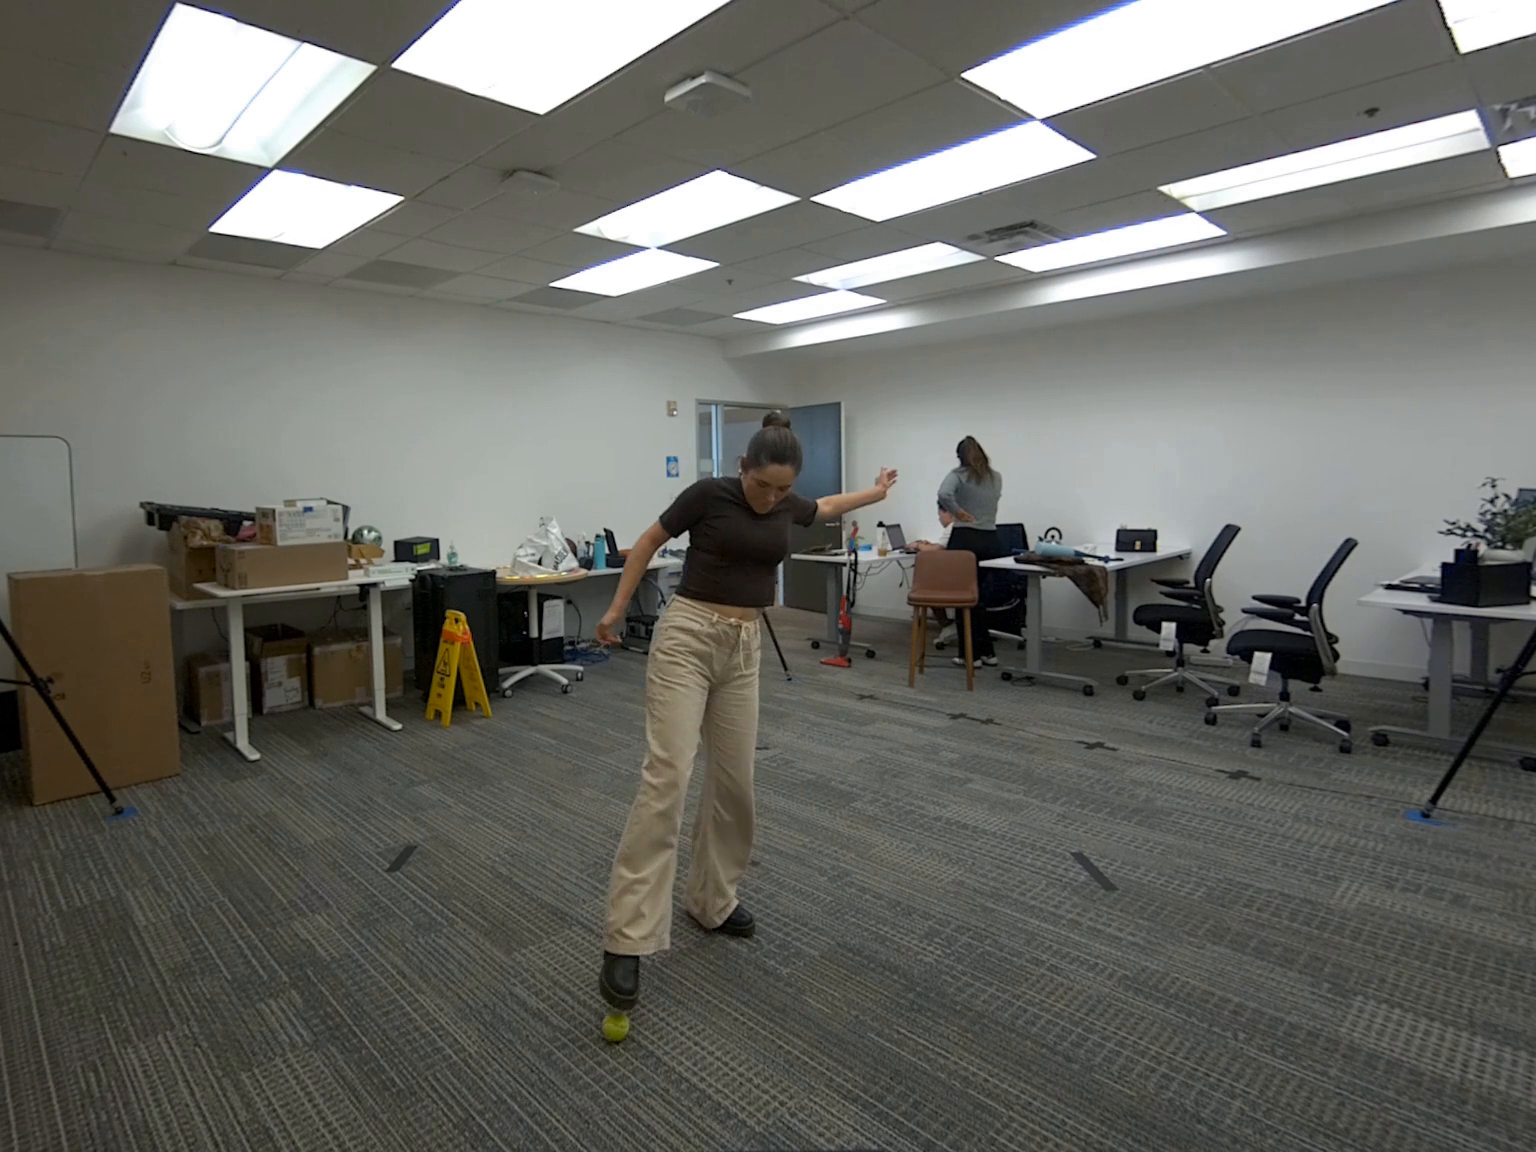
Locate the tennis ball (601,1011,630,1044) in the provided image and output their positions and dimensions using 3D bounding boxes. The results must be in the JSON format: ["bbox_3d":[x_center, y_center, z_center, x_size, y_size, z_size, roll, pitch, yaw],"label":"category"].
[{"bbox_3d":[-0.378,1.129,2.168,0.066,0.066,0.067,-1,5,-2],"label":"tennis ball"}]
